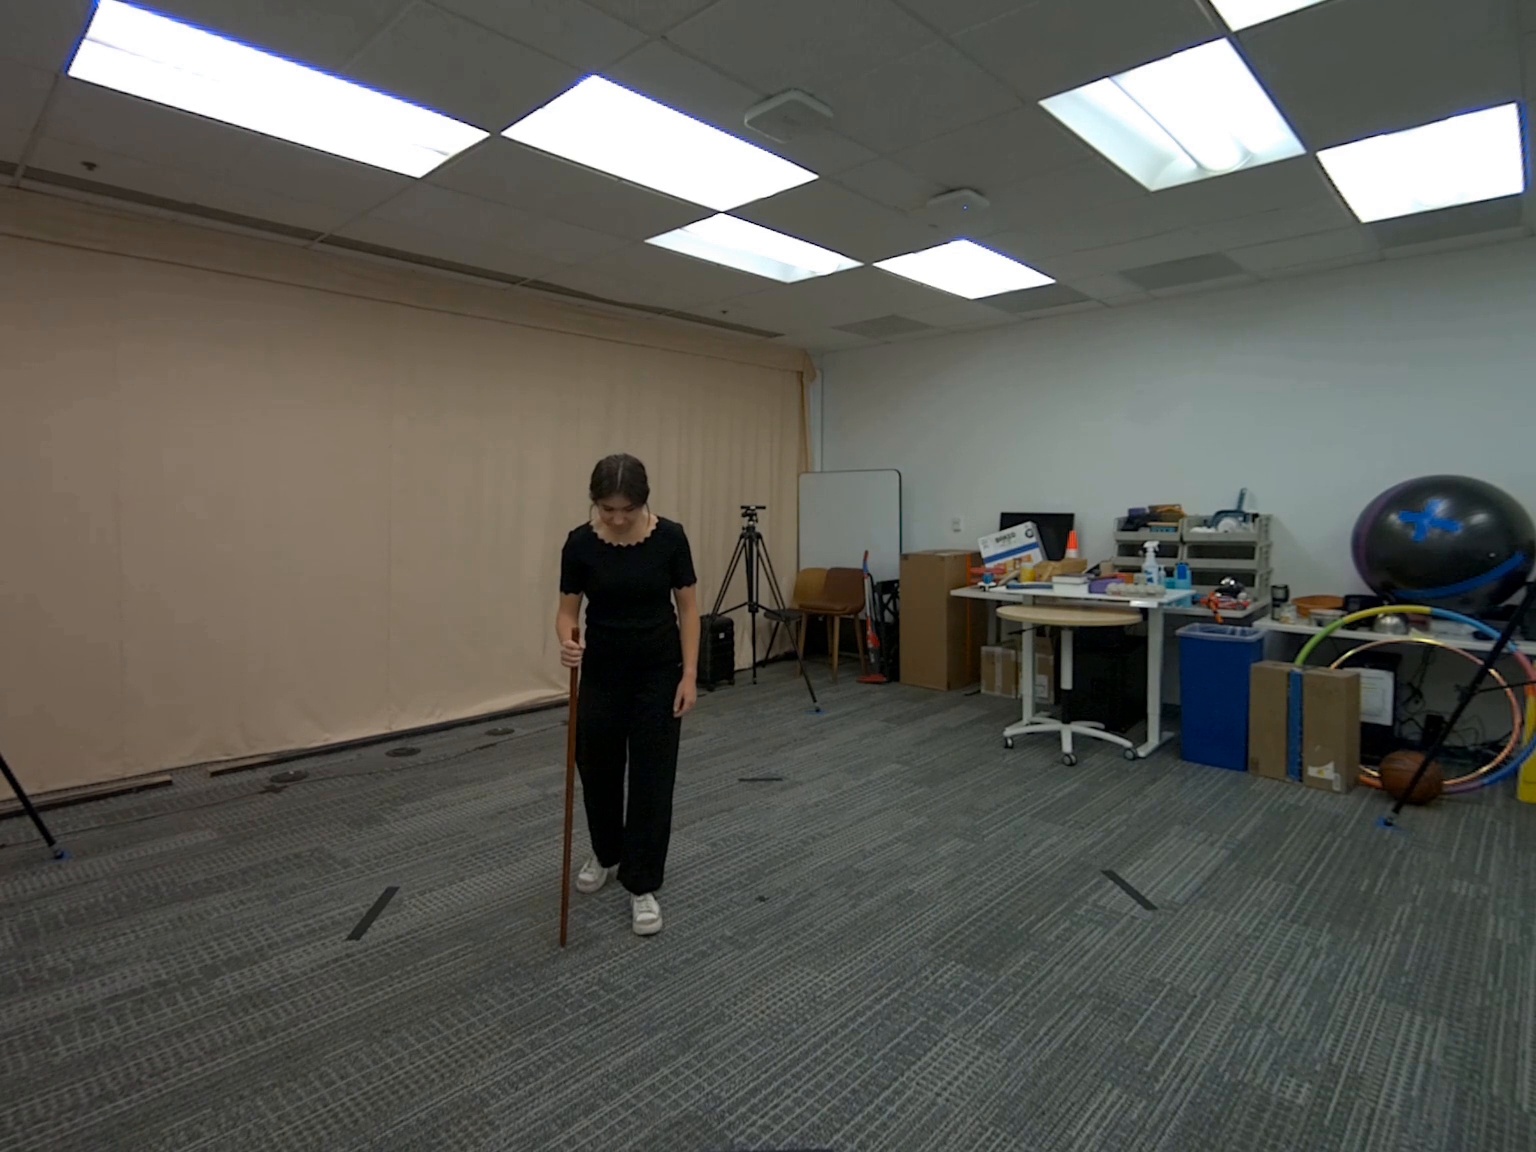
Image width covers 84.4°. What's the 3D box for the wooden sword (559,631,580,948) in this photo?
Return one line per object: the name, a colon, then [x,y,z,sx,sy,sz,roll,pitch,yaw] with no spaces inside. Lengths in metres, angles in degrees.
wooden sword: [-0.616,0.677,2.628,0.023,1.021,0.052,1,6,-20]
